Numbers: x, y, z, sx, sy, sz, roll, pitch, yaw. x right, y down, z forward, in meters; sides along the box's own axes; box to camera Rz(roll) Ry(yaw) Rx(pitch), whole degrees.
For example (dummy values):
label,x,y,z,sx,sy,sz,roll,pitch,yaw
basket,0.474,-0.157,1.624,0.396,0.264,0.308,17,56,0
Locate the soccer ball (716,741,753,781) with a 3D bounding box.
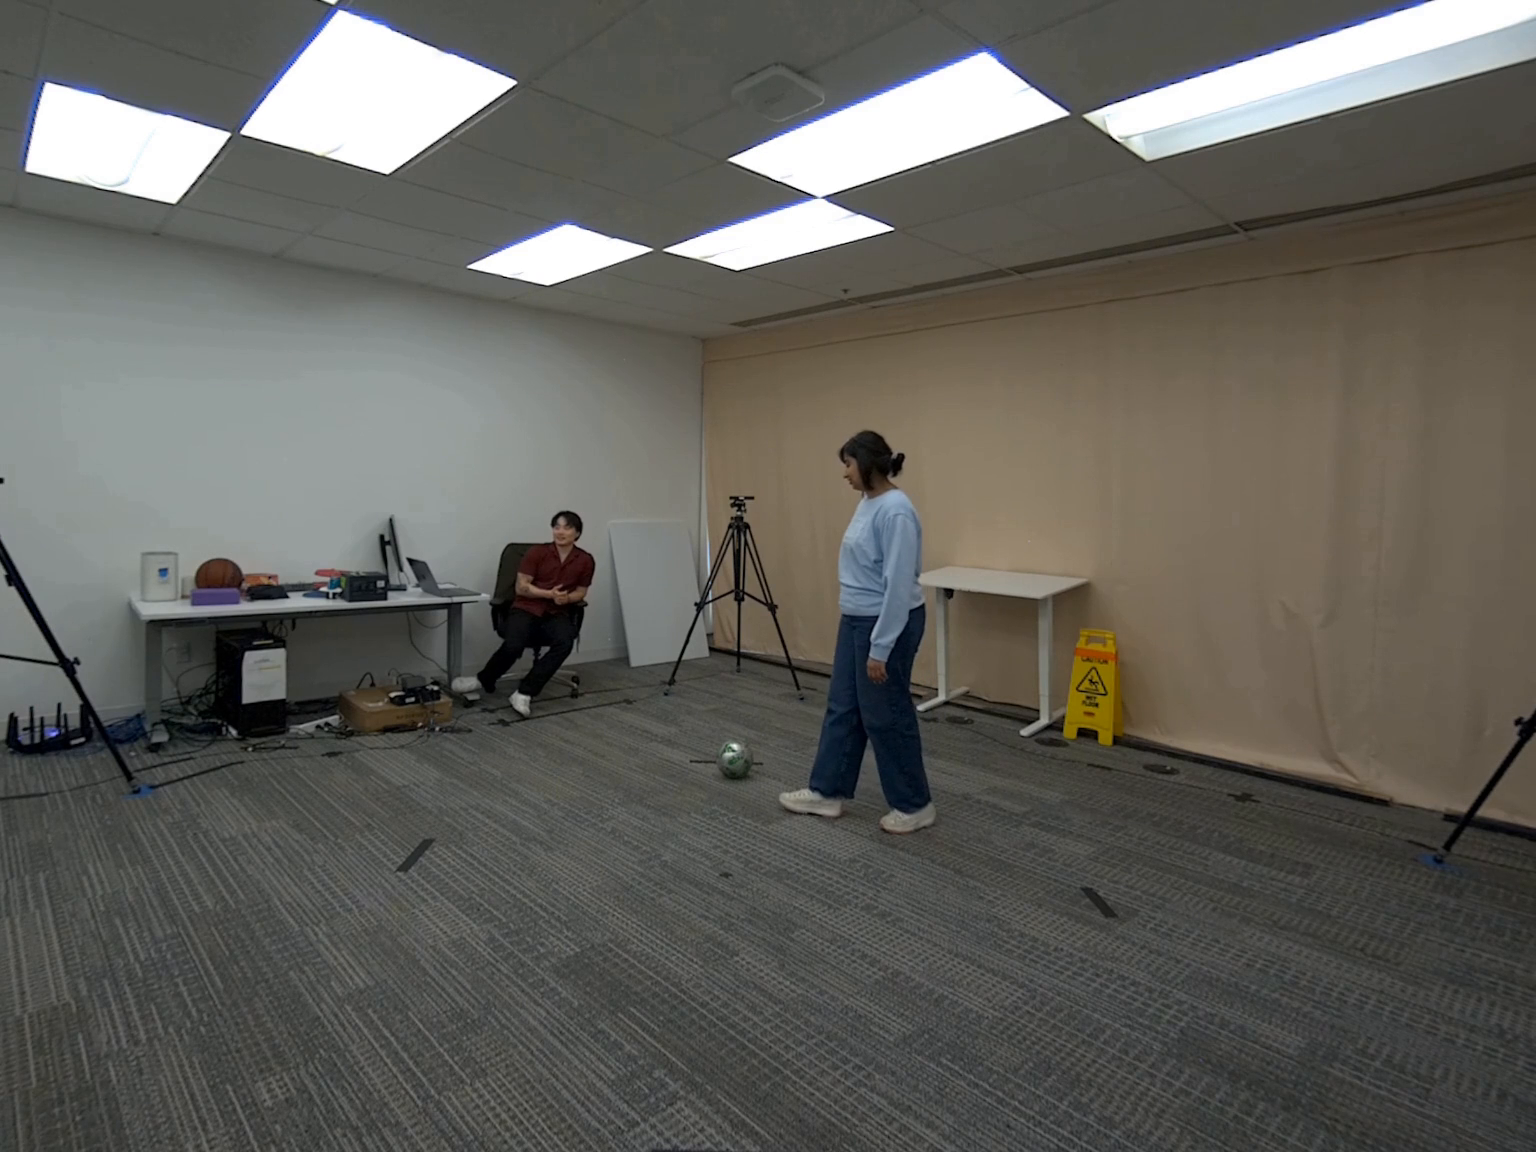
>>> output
label,x,y,z,sx,sy,sz,roll,pitch,yaw
soccer ball,-0.179,0.913,4.215,0.187,0.187,0.188,1,4,-1
